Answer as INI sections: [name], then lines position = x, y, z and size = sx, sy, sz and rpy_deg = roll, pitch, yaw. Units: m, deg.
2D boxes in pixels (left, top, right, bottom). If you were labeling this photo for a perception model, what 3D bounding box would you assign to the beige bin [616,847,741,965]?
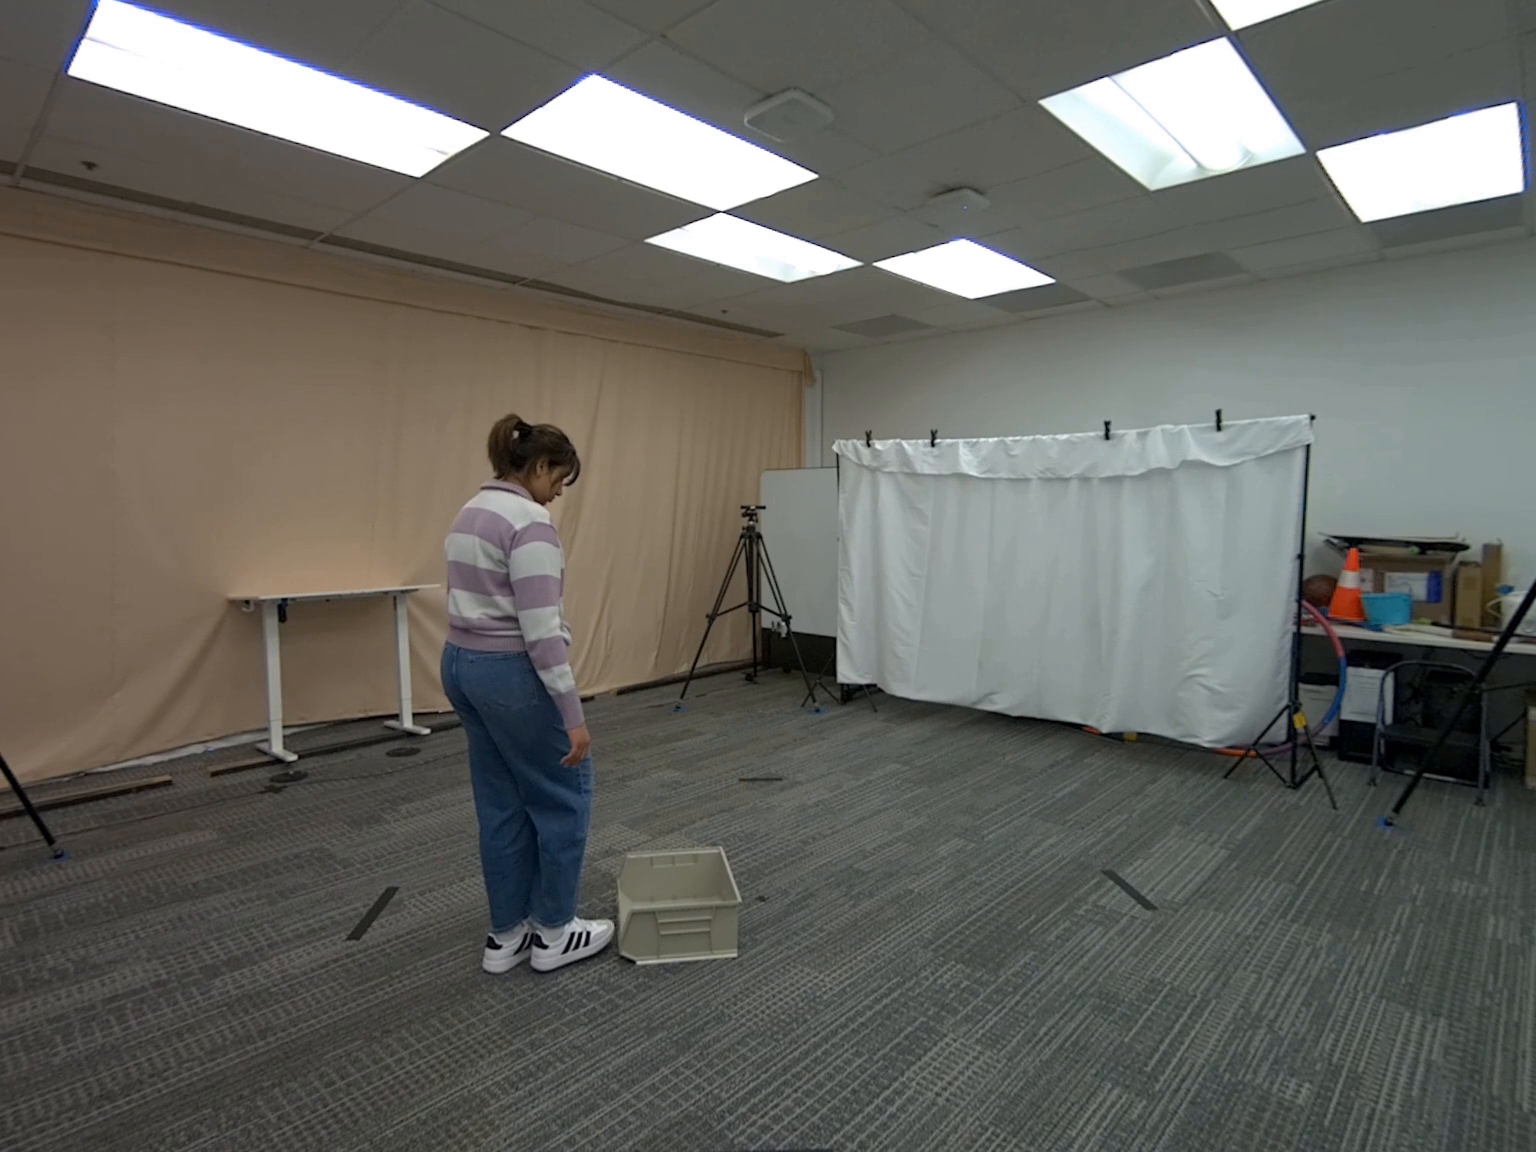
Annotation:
[beige bin]
position = -0.302, 1.076, 2.767
size = 0.374, 0.188, 0.427
rpy_deg = 0, 3, -10
